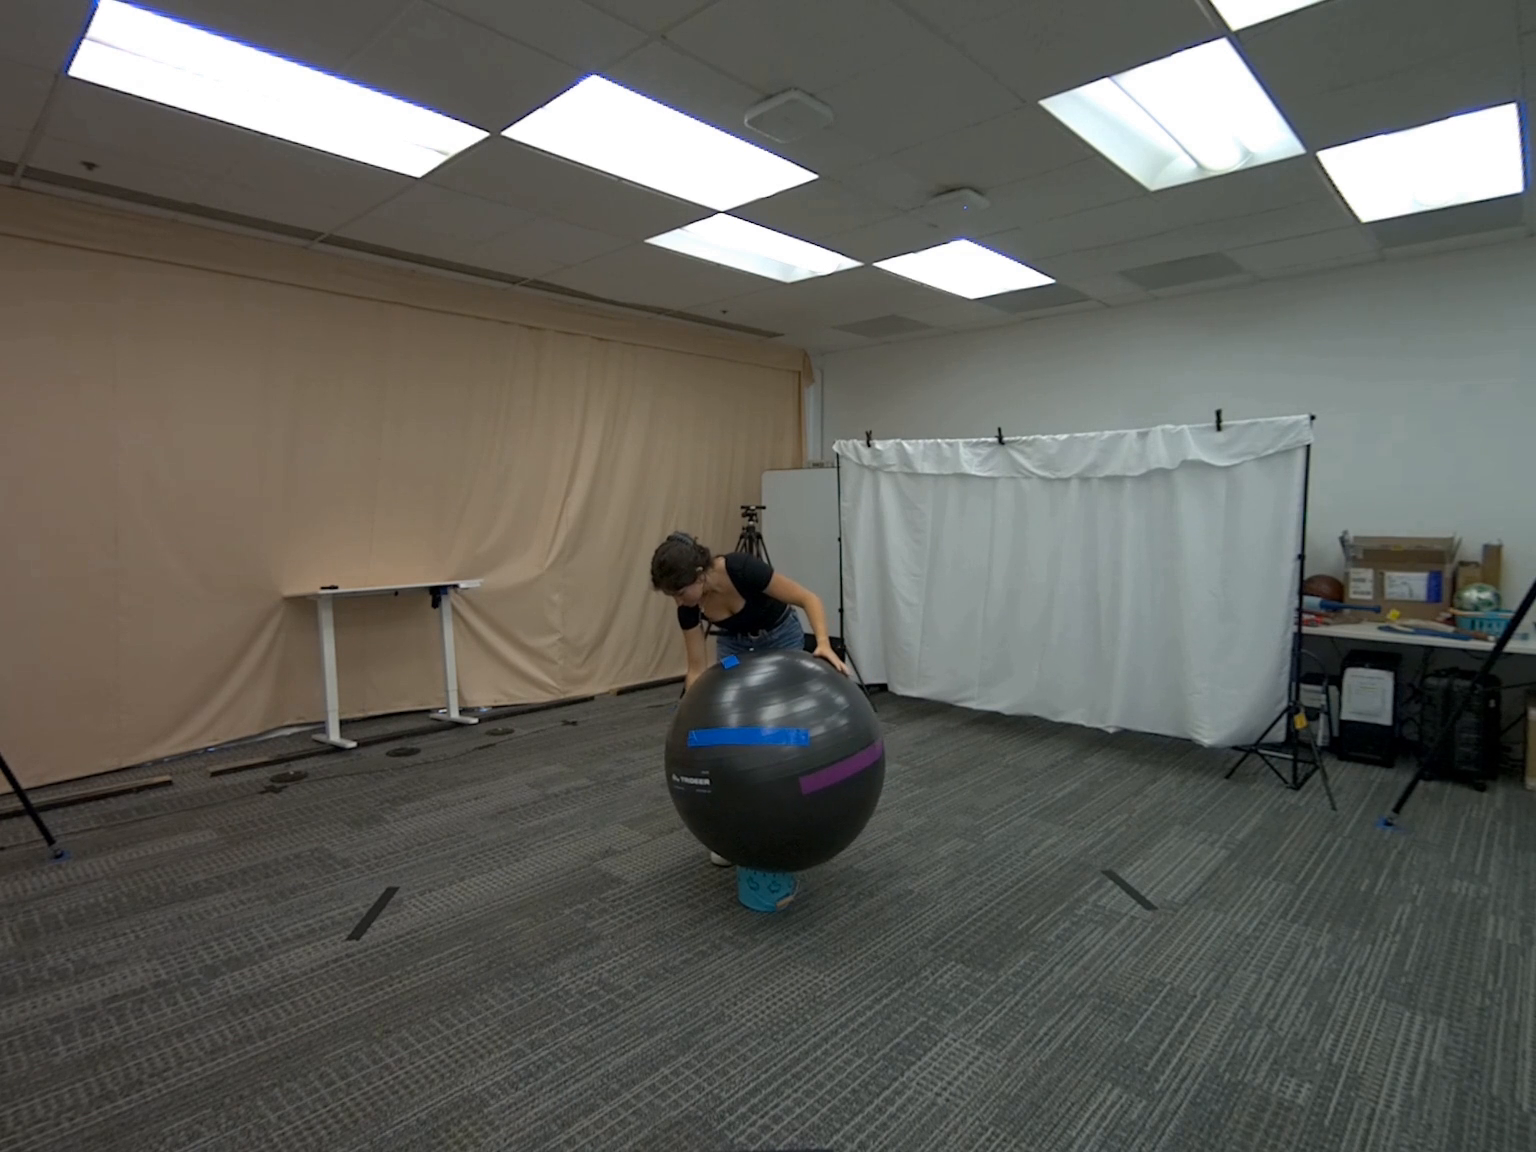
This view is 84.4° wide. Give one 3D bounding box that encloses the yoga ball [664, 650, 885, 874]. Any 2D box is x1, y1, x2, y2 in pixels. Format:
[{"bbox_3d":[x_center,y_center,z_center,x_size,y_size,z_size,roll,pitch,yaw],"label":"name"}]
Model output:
[{"bbox_3d":[0.024,0.635,2.926,0.757,0.756,0.760,0,4,-2],"label":"yoga ball"}]
